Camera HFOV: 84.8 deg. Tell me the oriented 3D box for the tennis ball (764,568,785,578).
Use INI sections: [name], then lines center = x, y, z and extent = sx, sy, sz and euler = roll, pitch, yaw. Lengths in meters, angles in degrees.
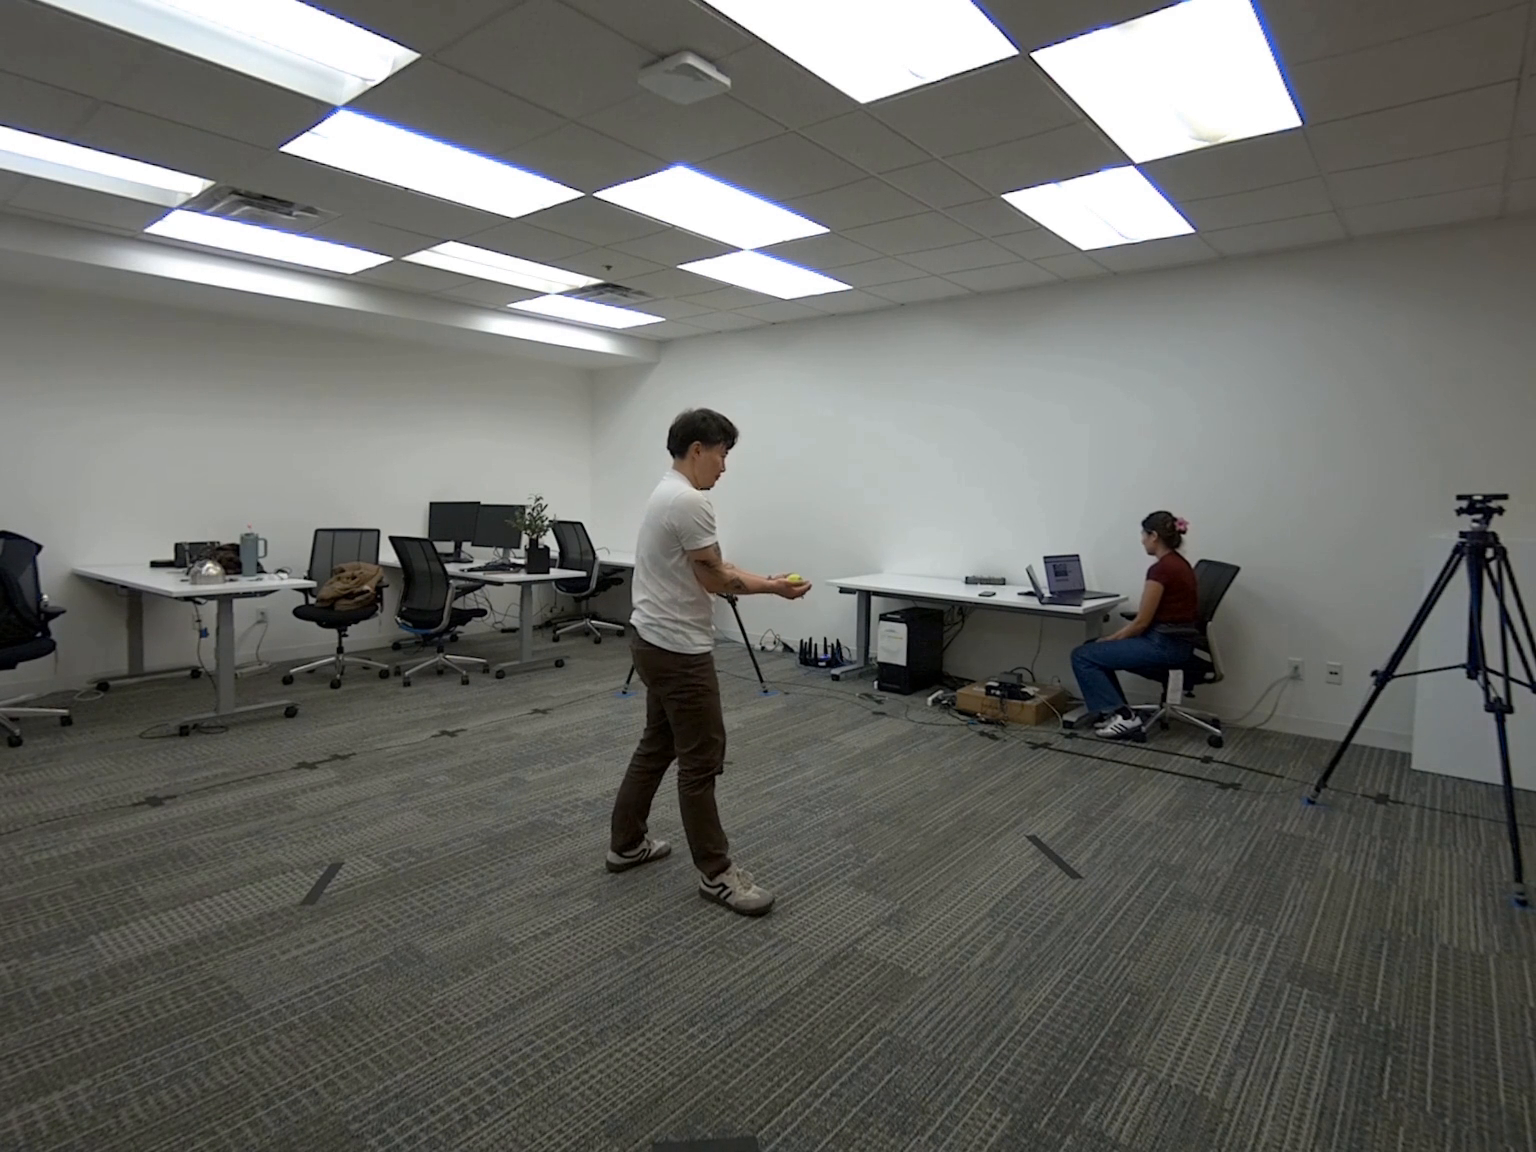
[tennis ball]
center = 0.021, 0.006, 3.019
extent = 0.066, 0.066, 0.067
euler = 1, 4, -2
